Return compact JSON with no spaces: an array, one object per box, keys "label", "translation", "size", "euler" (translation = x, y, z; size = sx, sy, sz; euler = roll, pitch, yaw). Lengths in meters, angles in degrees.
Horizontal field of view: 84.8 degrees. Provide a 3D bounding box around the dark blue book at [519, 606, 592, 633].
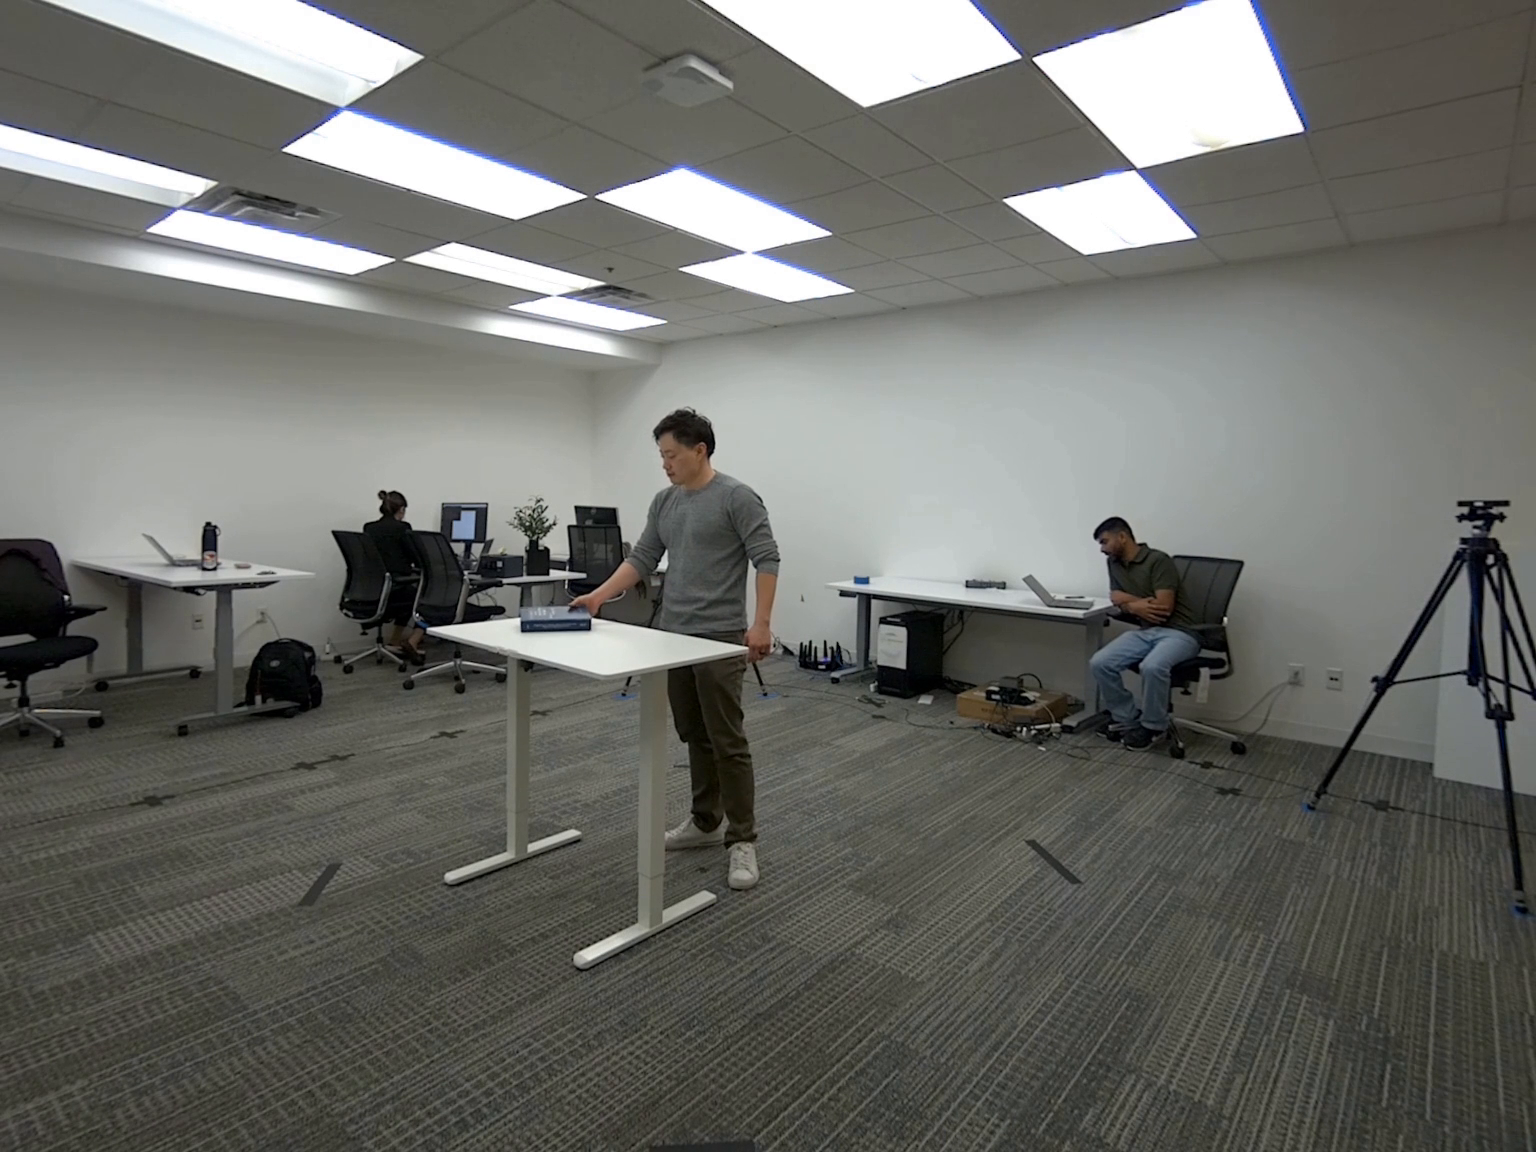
[{"label":"dark blue book","translation":[-0.775,0.161,3.043],"size":[0.242,0.045,0.167],"euler":[-3,11,-13]}]
